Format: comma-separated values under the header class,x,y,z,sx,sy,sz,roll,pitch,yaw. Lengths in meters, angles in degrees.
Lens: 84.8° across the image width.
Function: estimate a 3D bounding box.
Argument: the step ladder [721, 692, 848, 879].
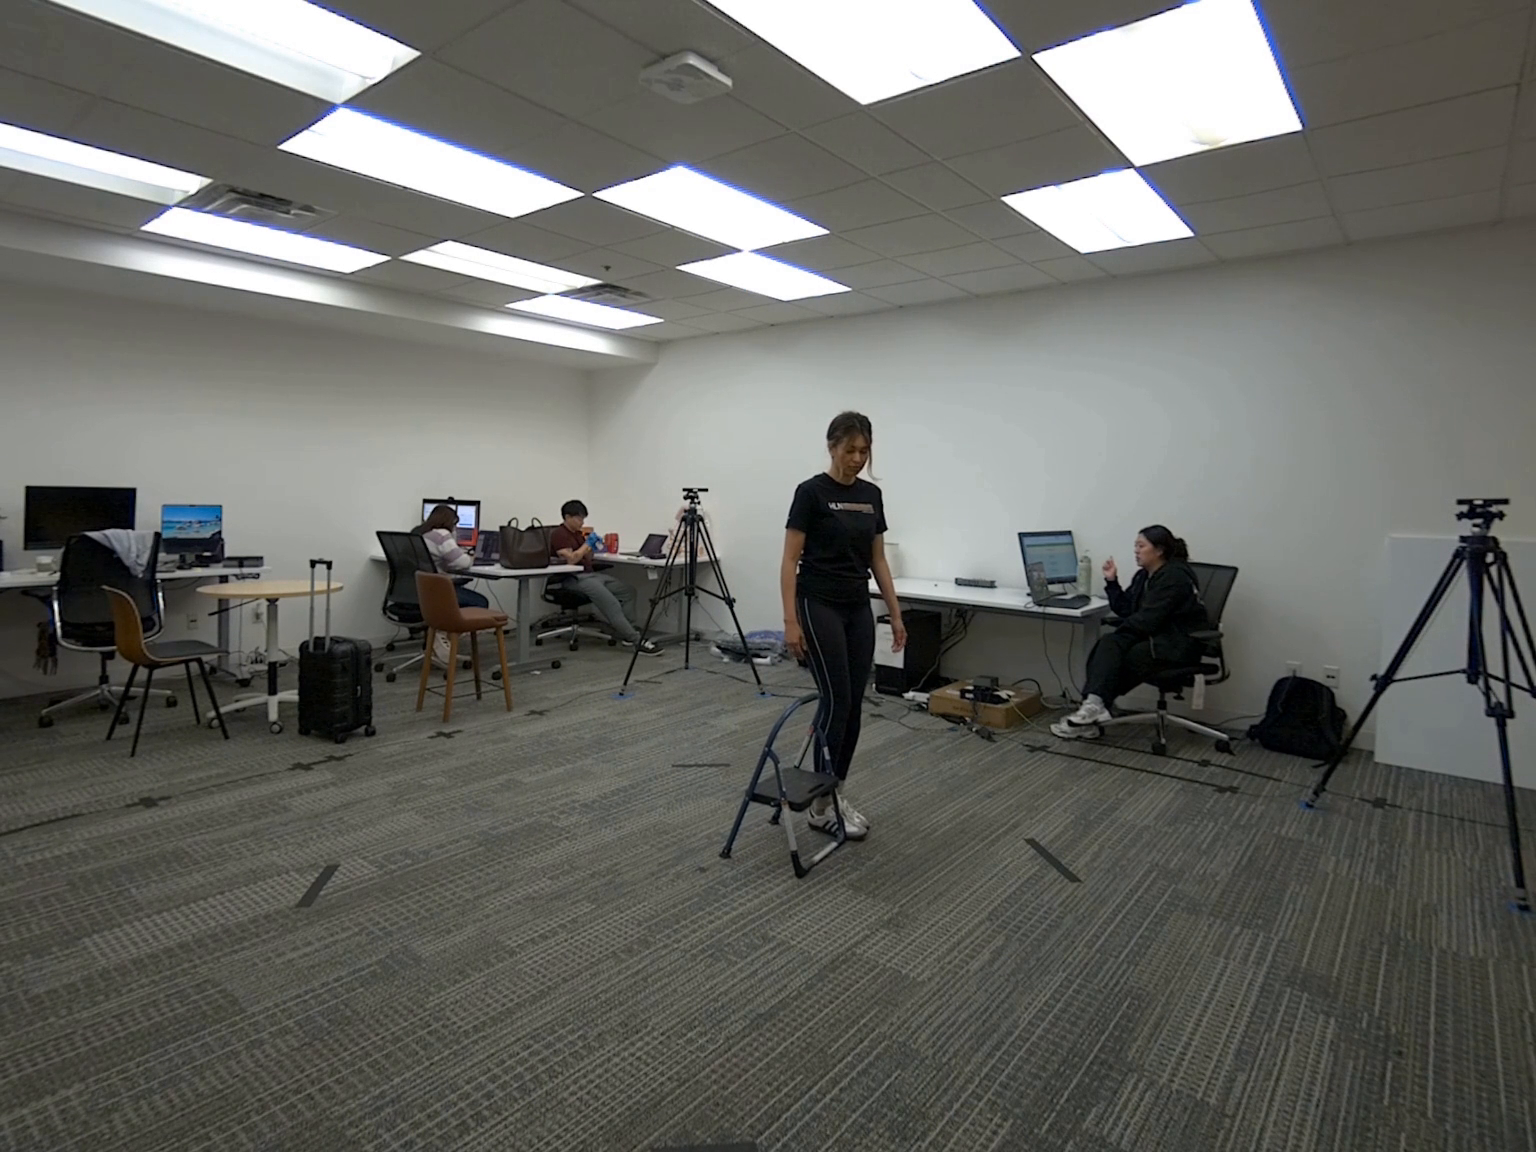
class,x,y,z,sx,sy,sz,roll,pitch,yaw
step ladder,0.063,0.755,3.286,0.359,0.604,0.419,3,4,30
